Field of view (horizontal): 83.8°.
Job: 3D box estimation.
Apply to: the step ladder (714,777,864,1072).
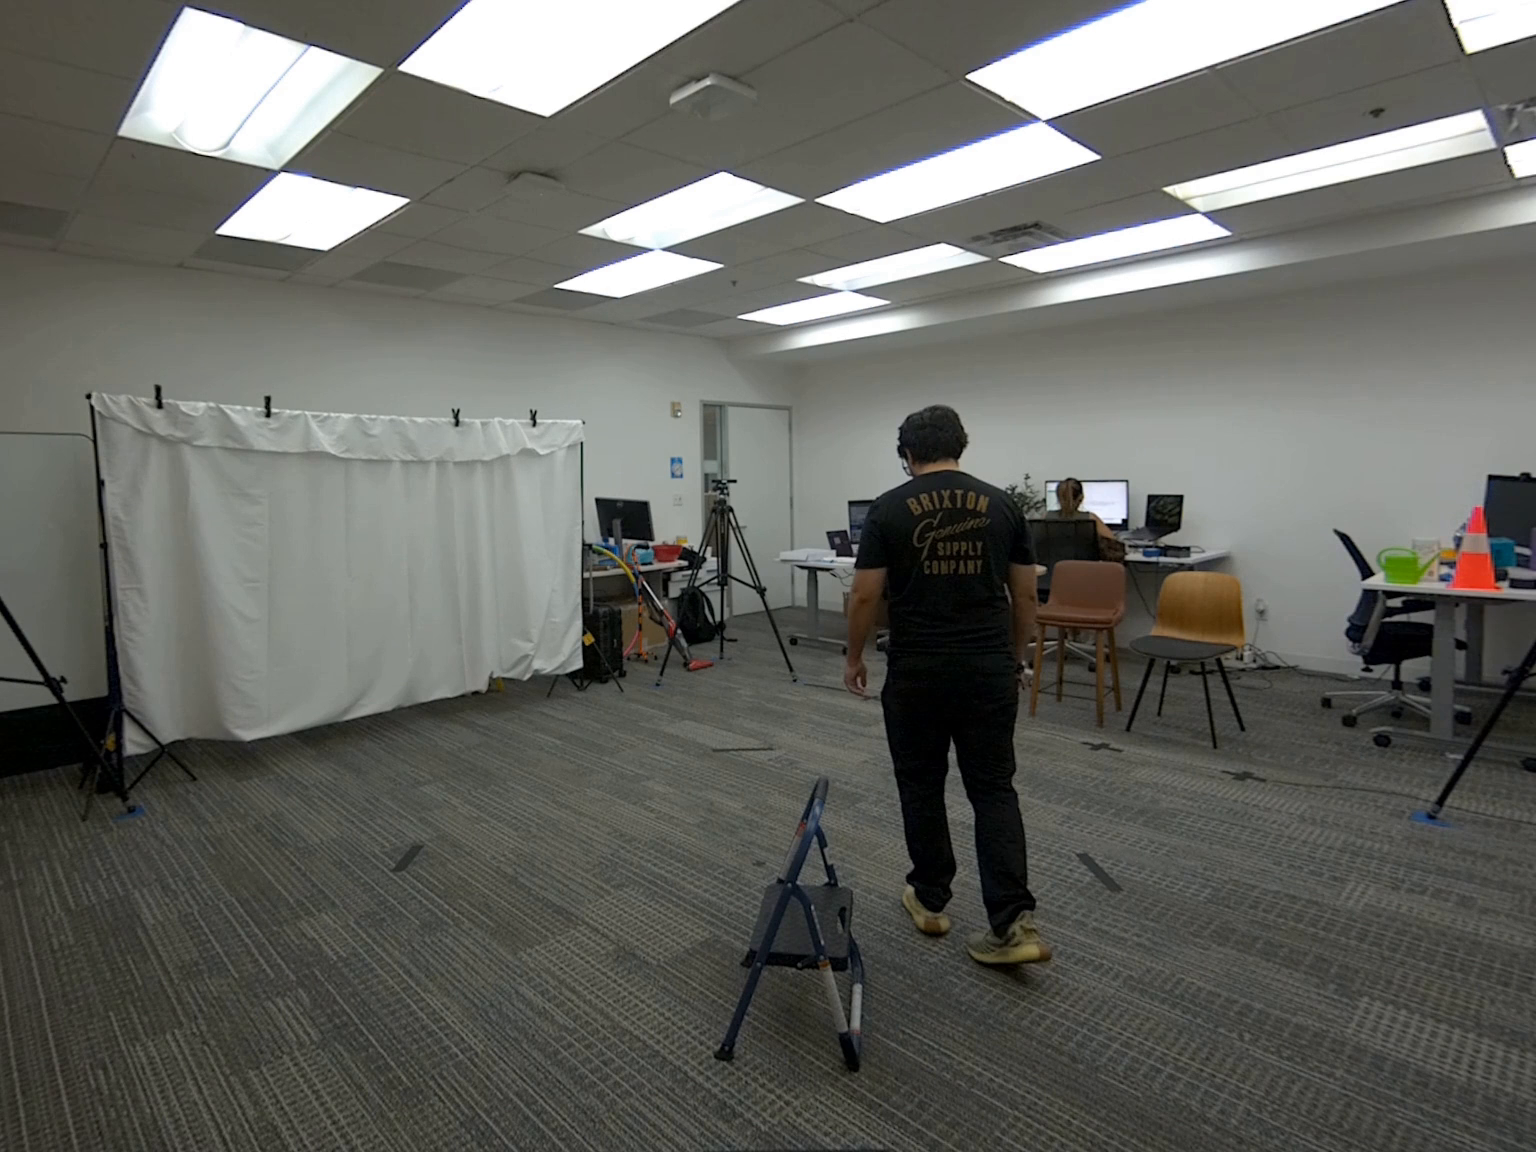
[{"bbox_3d":[0.078,0.849,2.219,0.353,0.604,0.428,0,5,9],"label":"step ladder"}]
